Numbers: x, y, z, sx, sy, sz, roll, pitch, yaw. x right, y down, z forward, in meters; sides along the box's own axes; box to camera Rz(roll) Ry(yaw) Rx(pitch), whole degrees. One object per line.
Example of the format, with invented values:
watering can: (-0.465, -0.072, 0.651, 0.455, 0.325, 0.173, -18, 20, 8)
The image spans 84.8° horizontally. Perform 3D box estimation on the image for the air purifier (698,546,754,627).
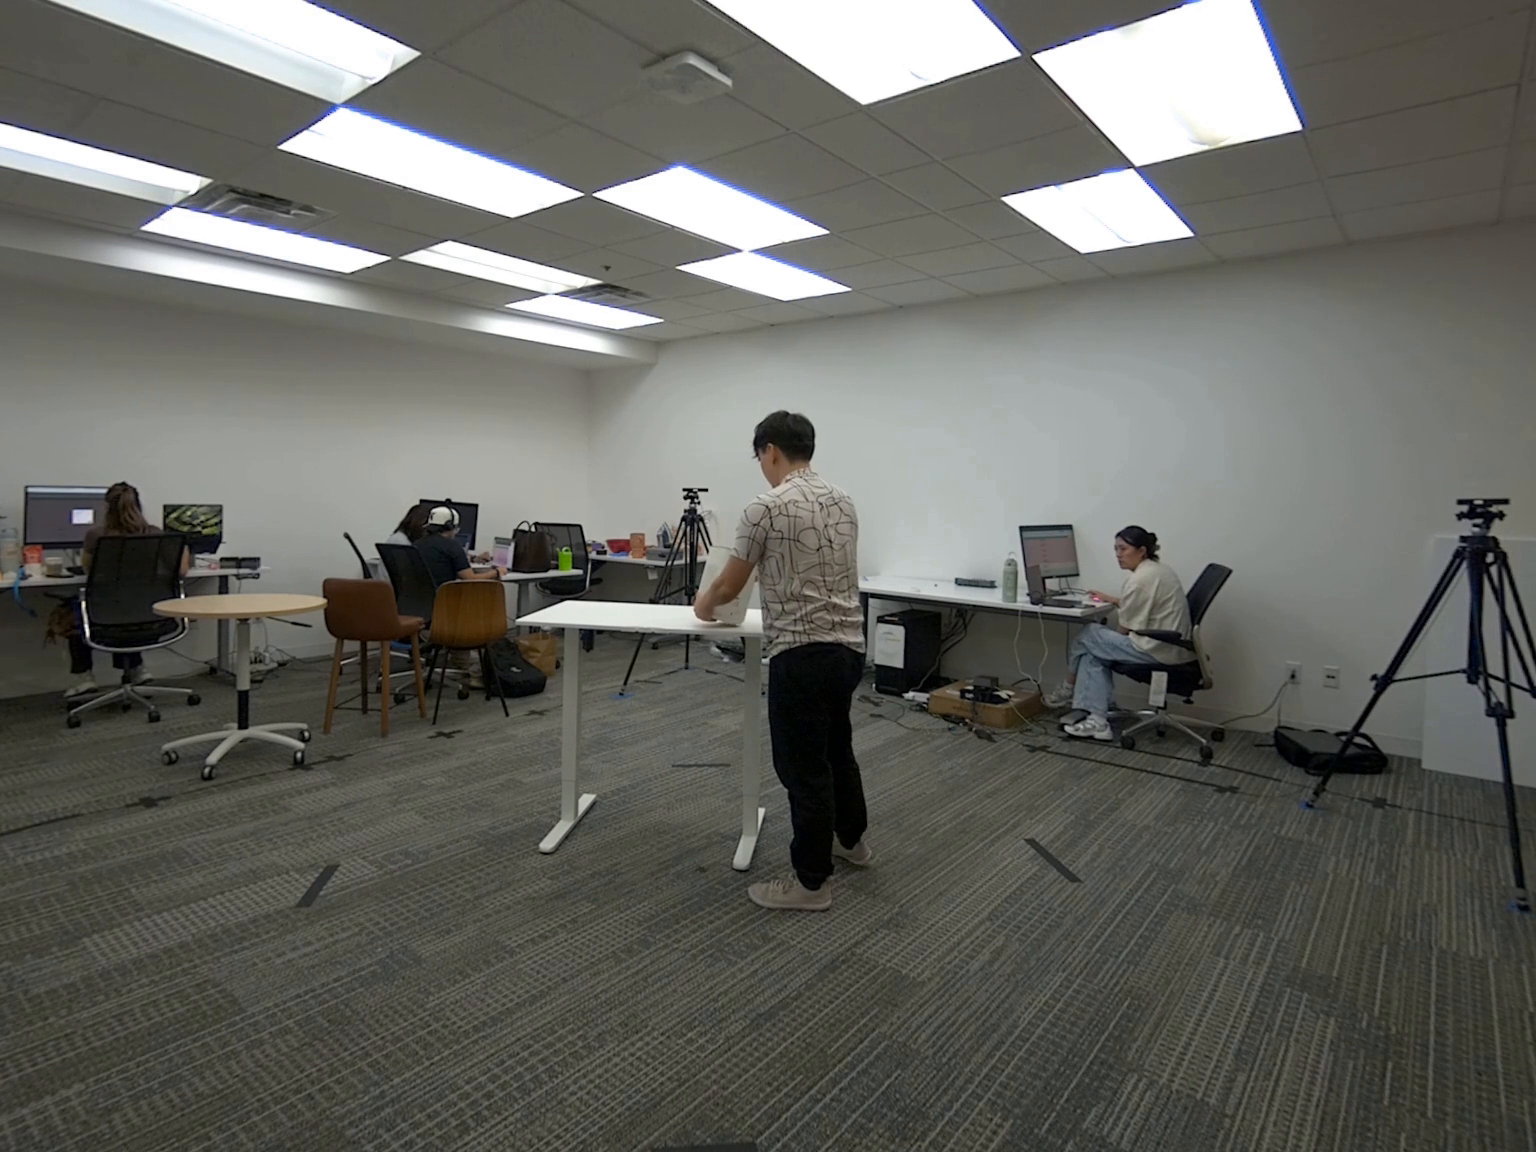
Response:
air purifier: (-0.163, 0.032, 3.203, 0.166, 0.266, 0.176, 17, -5, -28)
